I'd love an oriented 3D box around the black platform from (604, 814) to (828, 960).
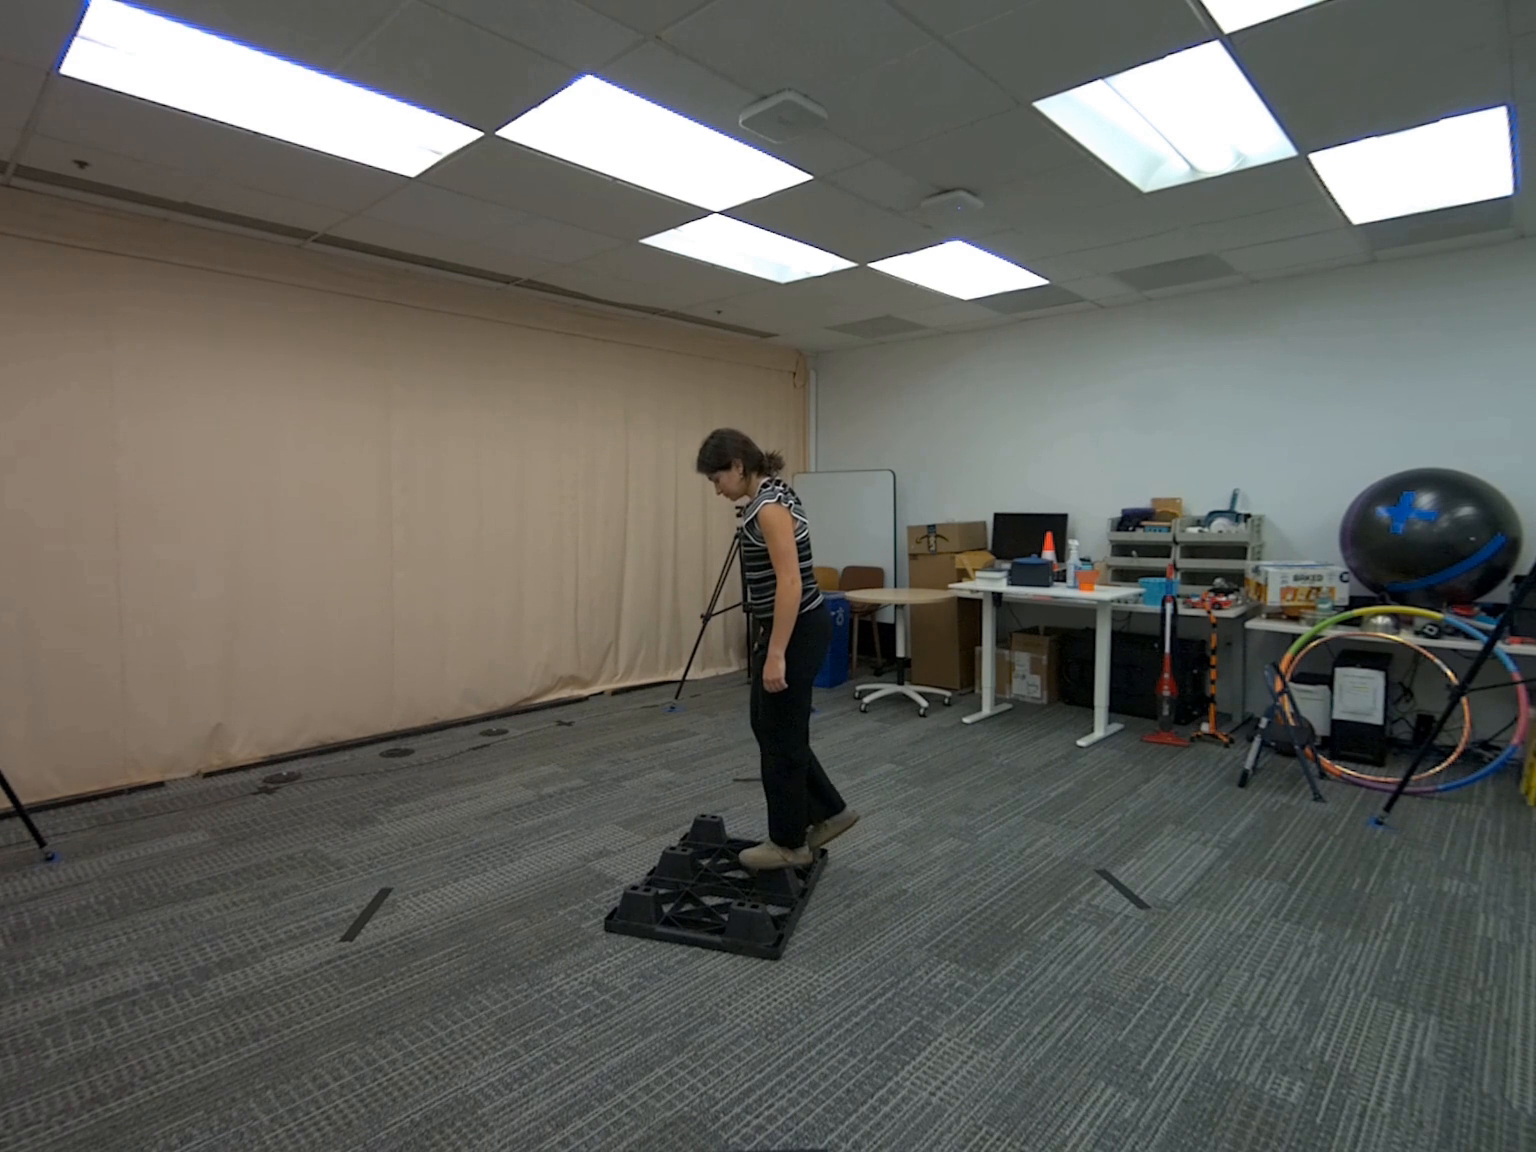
[{"bbox_3d":[-0.146,1.075,3.033,0.616,0.143,0.793,1,5,16],"label":"black platform"}]
